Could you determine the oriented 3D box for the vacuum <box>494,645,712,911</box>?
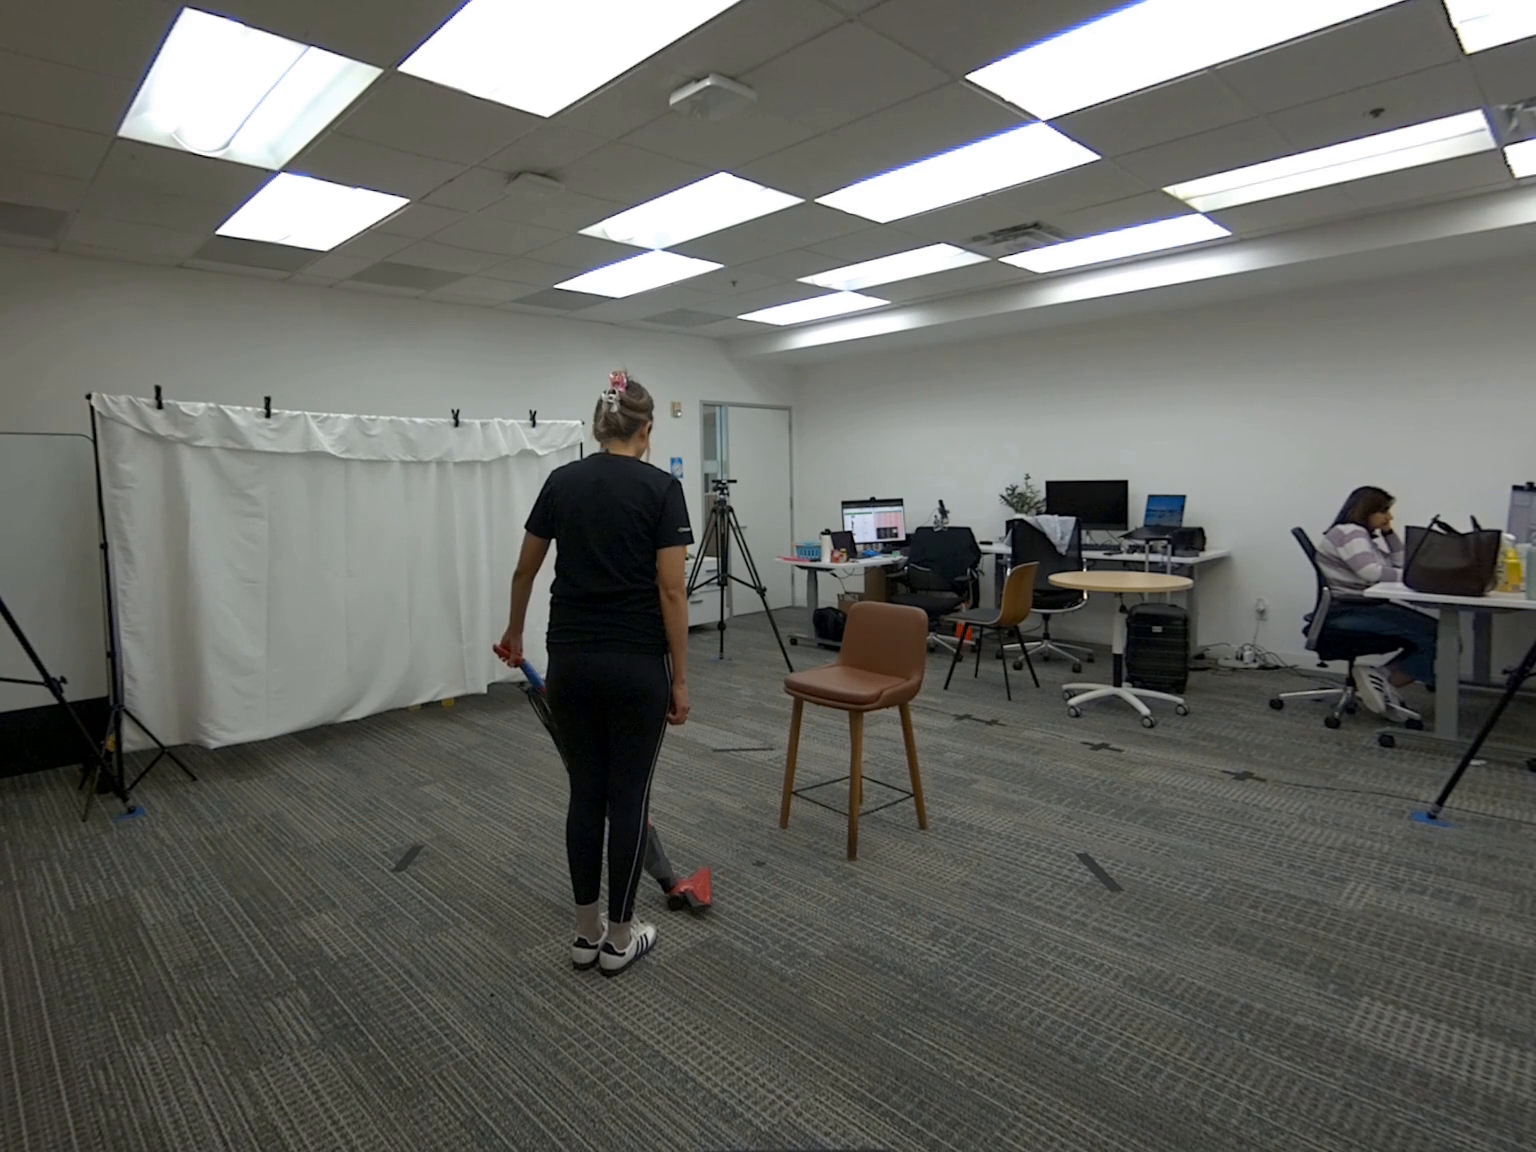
[{"bbox_3d":[-0.568,0.658,2.816,0.144,1.046,0.253,-39,2,2],"label":"vacuum"}]
